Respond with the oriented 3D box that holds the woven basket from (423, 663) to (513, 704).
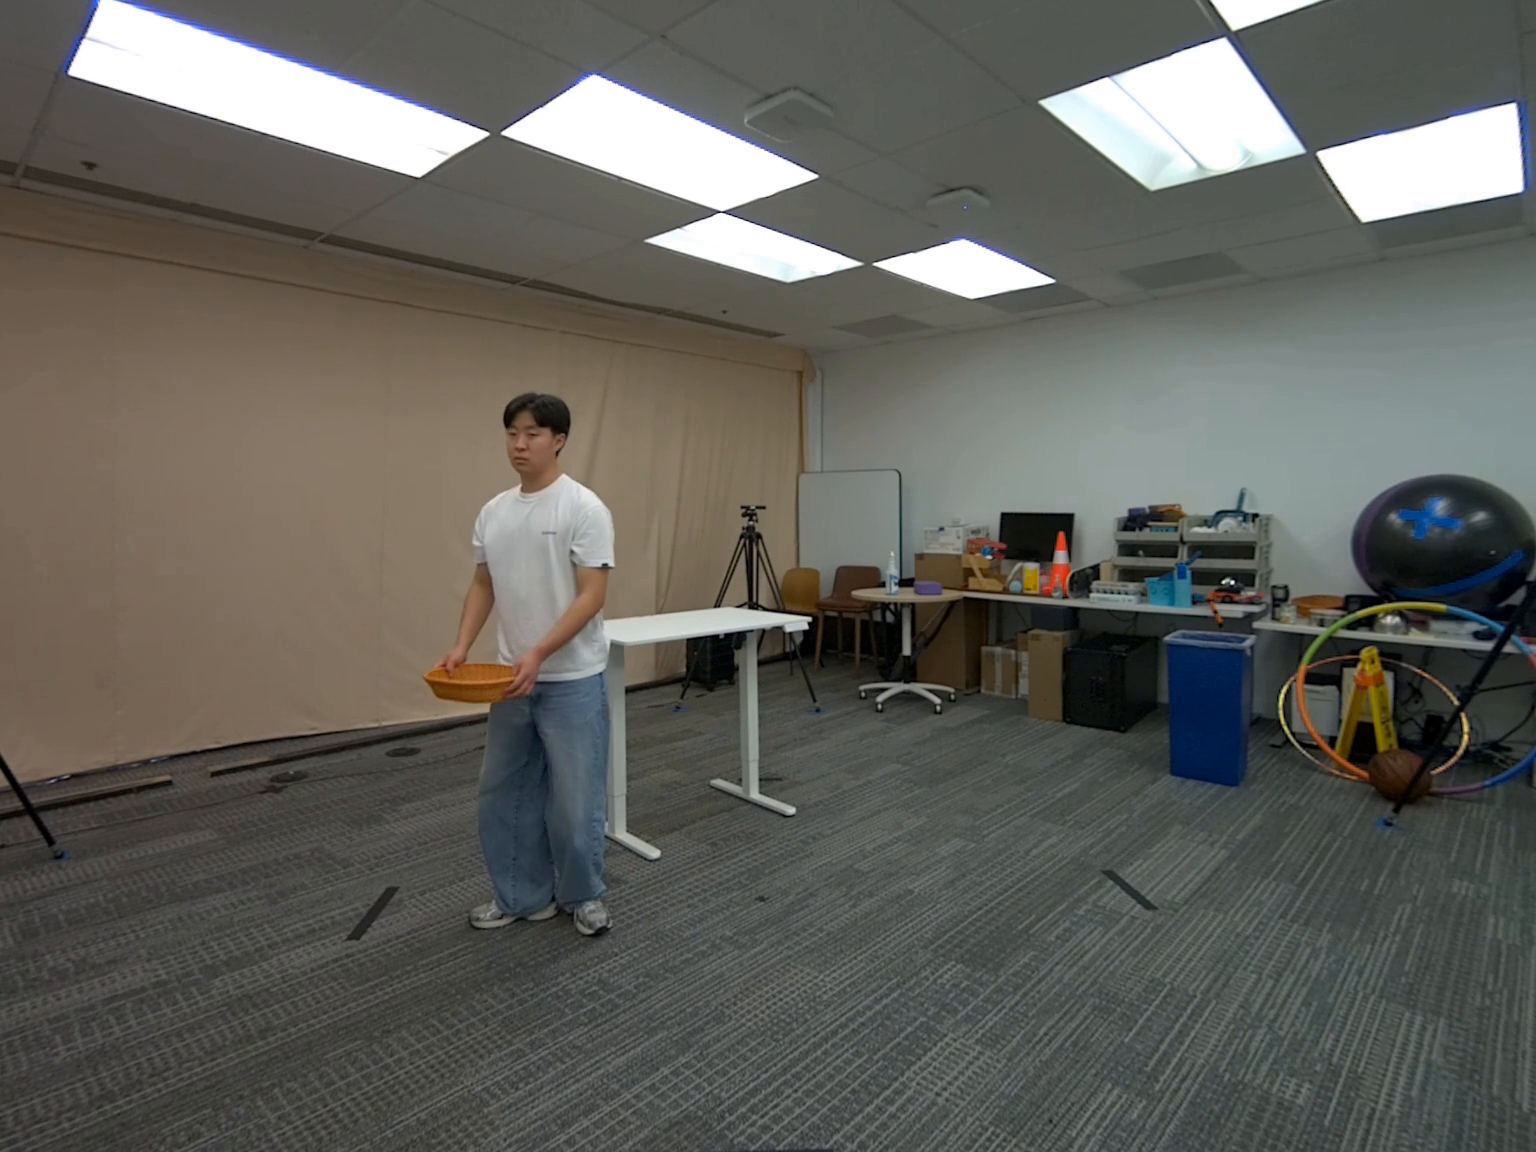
[{"bbox_3d":[-0.876,0.321,2.564,0.362,0.073,0.245,3,8,38],"label":"woven basket"}]
